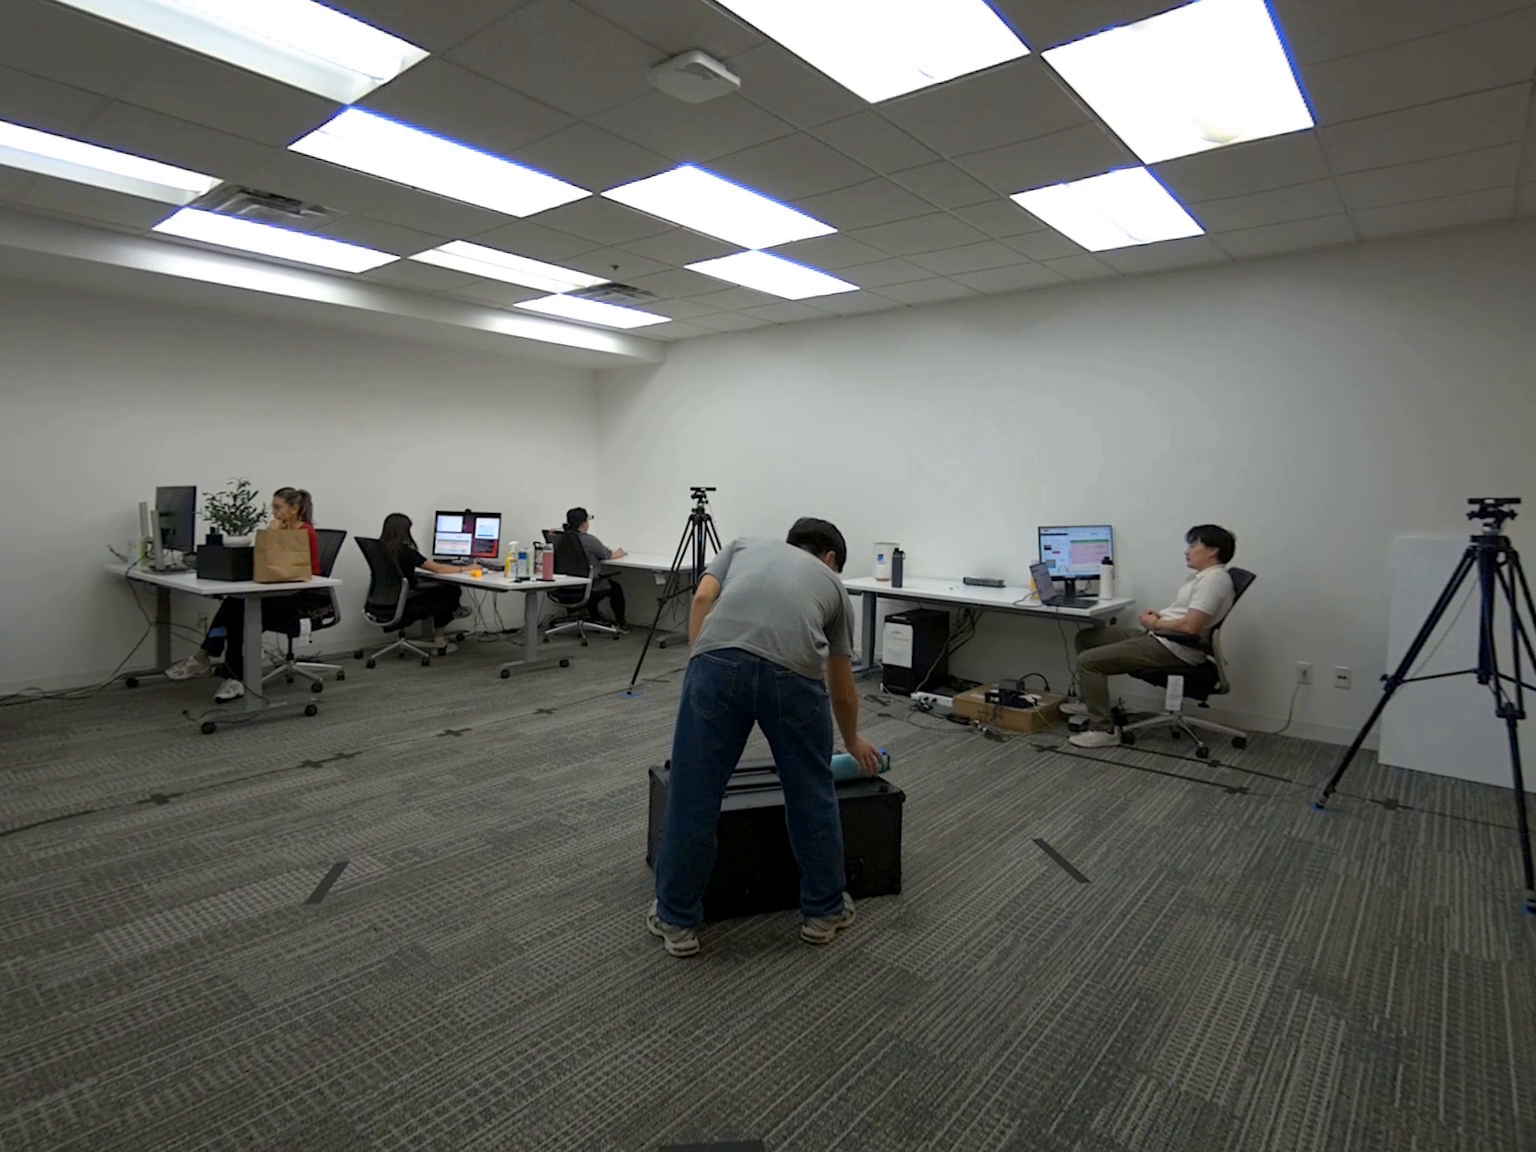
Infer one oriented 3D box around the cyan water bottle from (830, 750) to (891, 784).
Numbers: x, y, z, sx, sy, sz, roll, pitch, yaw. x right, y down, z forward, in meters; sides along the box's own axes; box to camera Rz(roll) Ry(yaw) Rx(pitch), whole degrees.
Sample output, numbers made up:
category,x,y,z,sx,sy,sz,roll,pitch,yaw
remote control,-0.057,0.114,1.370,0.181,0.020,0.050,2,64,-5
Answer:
category,x,y,z,sx,sy,sz,roll,pitch,yaw
cyan water bottle,0.308,0.672,3.053,0.276,0.092,0.095,0,4,-25
